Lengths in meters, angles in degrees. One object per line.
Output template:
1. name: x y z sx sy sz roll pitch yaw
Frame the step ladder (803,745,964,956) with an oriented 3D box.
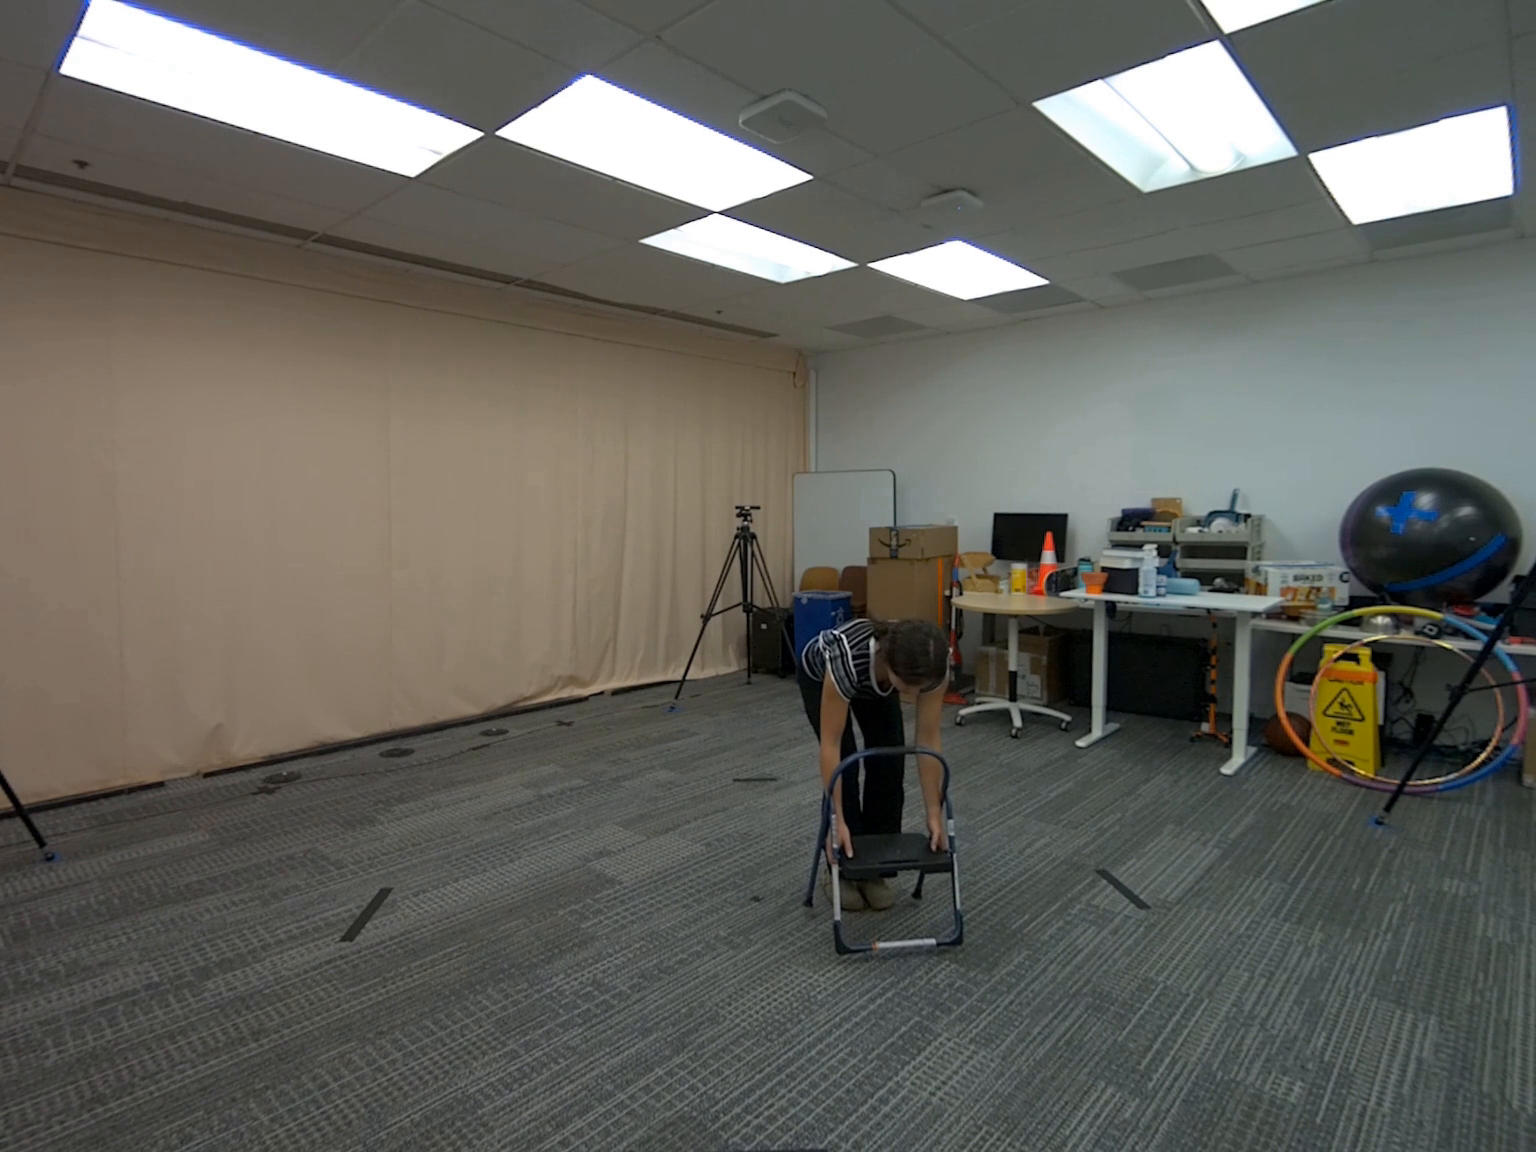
1. step ladder: 0.375 0.835 2.727 0.425 0.605 0.355 0 4 -13
